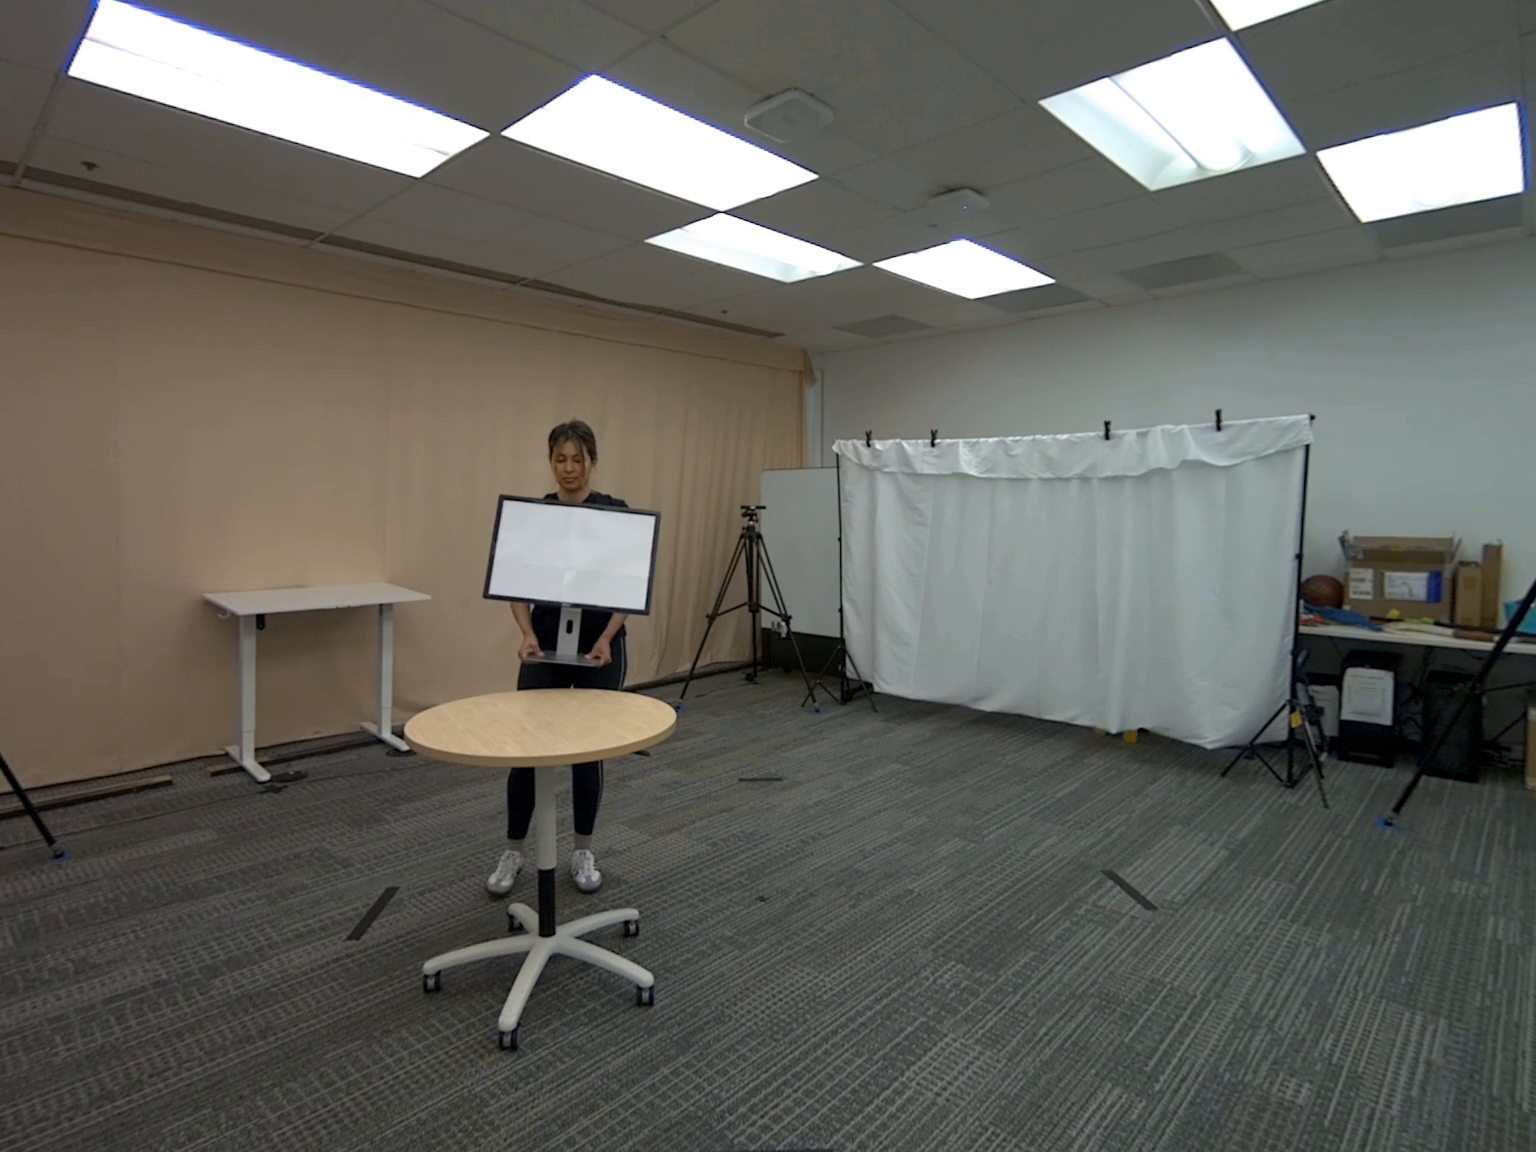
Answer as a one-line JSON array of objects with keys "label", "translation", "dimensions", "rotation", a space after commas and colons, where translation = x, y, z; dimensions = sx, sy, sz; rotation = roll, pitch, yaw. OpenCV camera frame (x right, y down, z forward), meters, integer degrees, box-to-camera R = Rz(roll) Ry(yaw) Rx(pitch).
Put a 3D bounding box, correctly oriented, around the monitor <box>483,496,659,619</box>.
[{"label": "monitor", "translation": [-0.660, 0.019, 2.895], "dimensions": [0.536, 0.523, 0.188], "rotation": [6, -1, -5]}]
